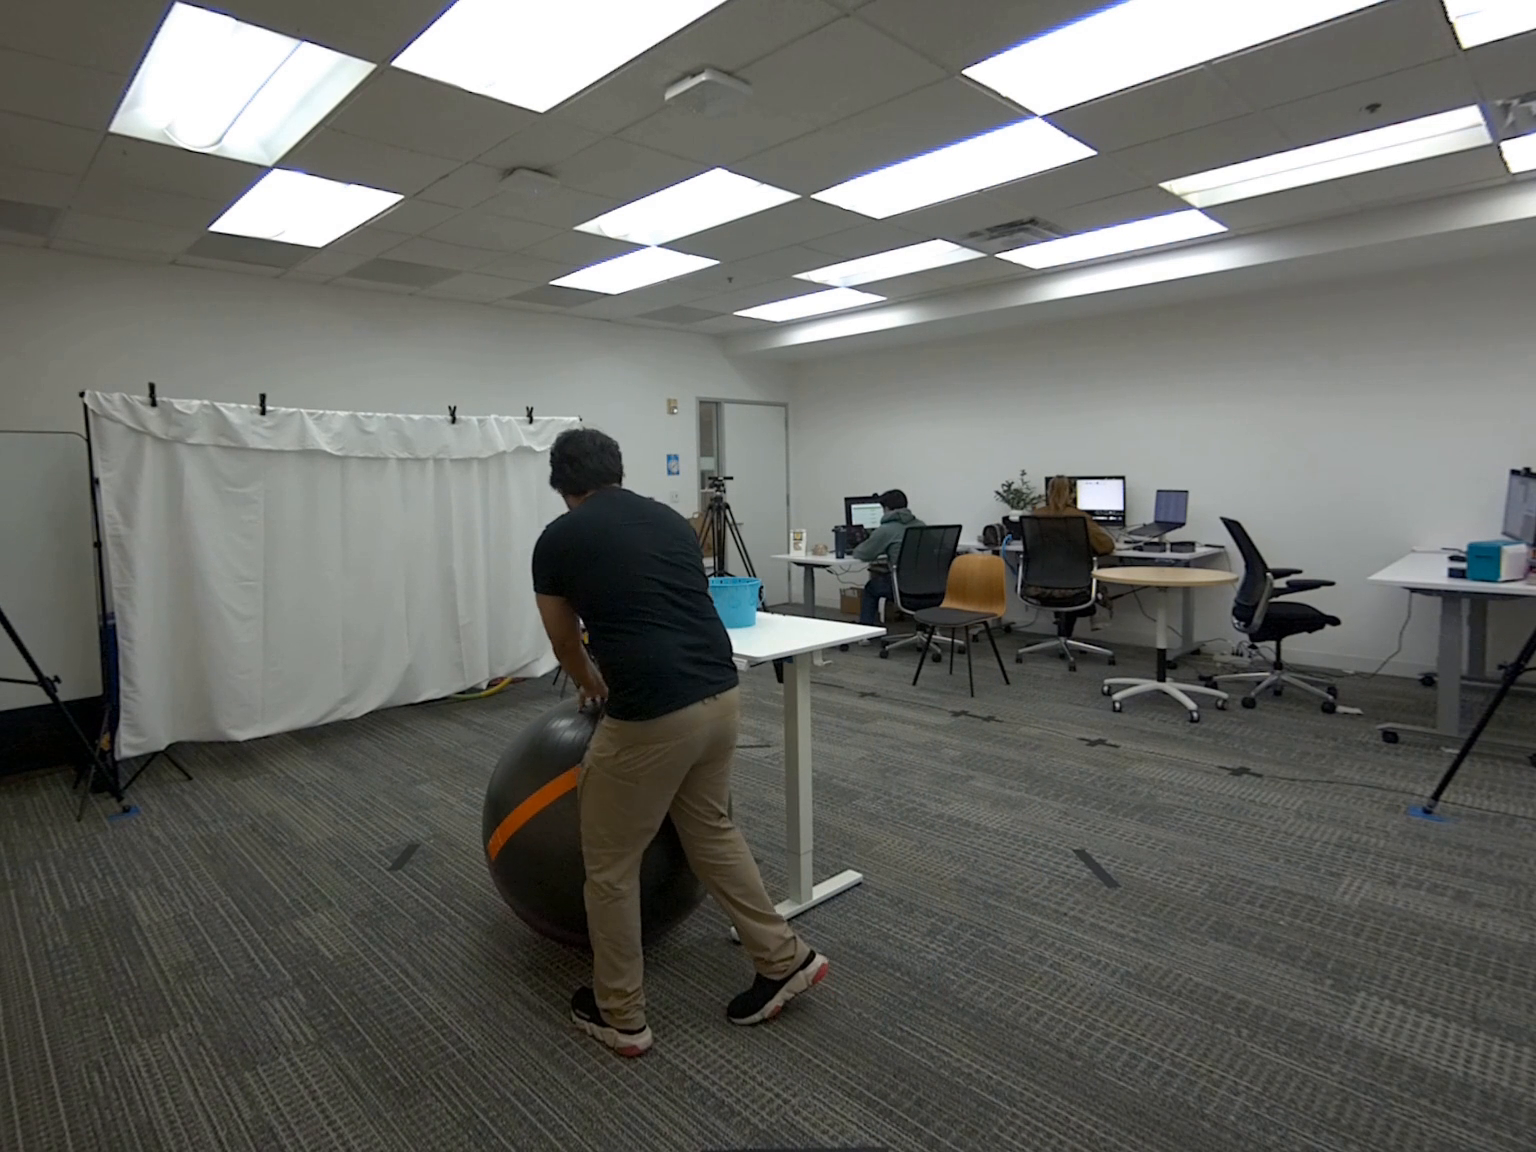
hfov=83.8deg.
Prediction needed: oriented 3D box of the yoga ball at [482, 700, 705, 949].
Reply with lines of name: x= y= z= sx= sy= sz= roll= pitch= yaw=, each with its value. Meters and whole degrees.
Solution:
yoga ball: x=-0.500 y=0.744 z=2.634 sx=0.757 sy=0.755 sz=0.762 roll=-1 pitch=5 yaw=-2
